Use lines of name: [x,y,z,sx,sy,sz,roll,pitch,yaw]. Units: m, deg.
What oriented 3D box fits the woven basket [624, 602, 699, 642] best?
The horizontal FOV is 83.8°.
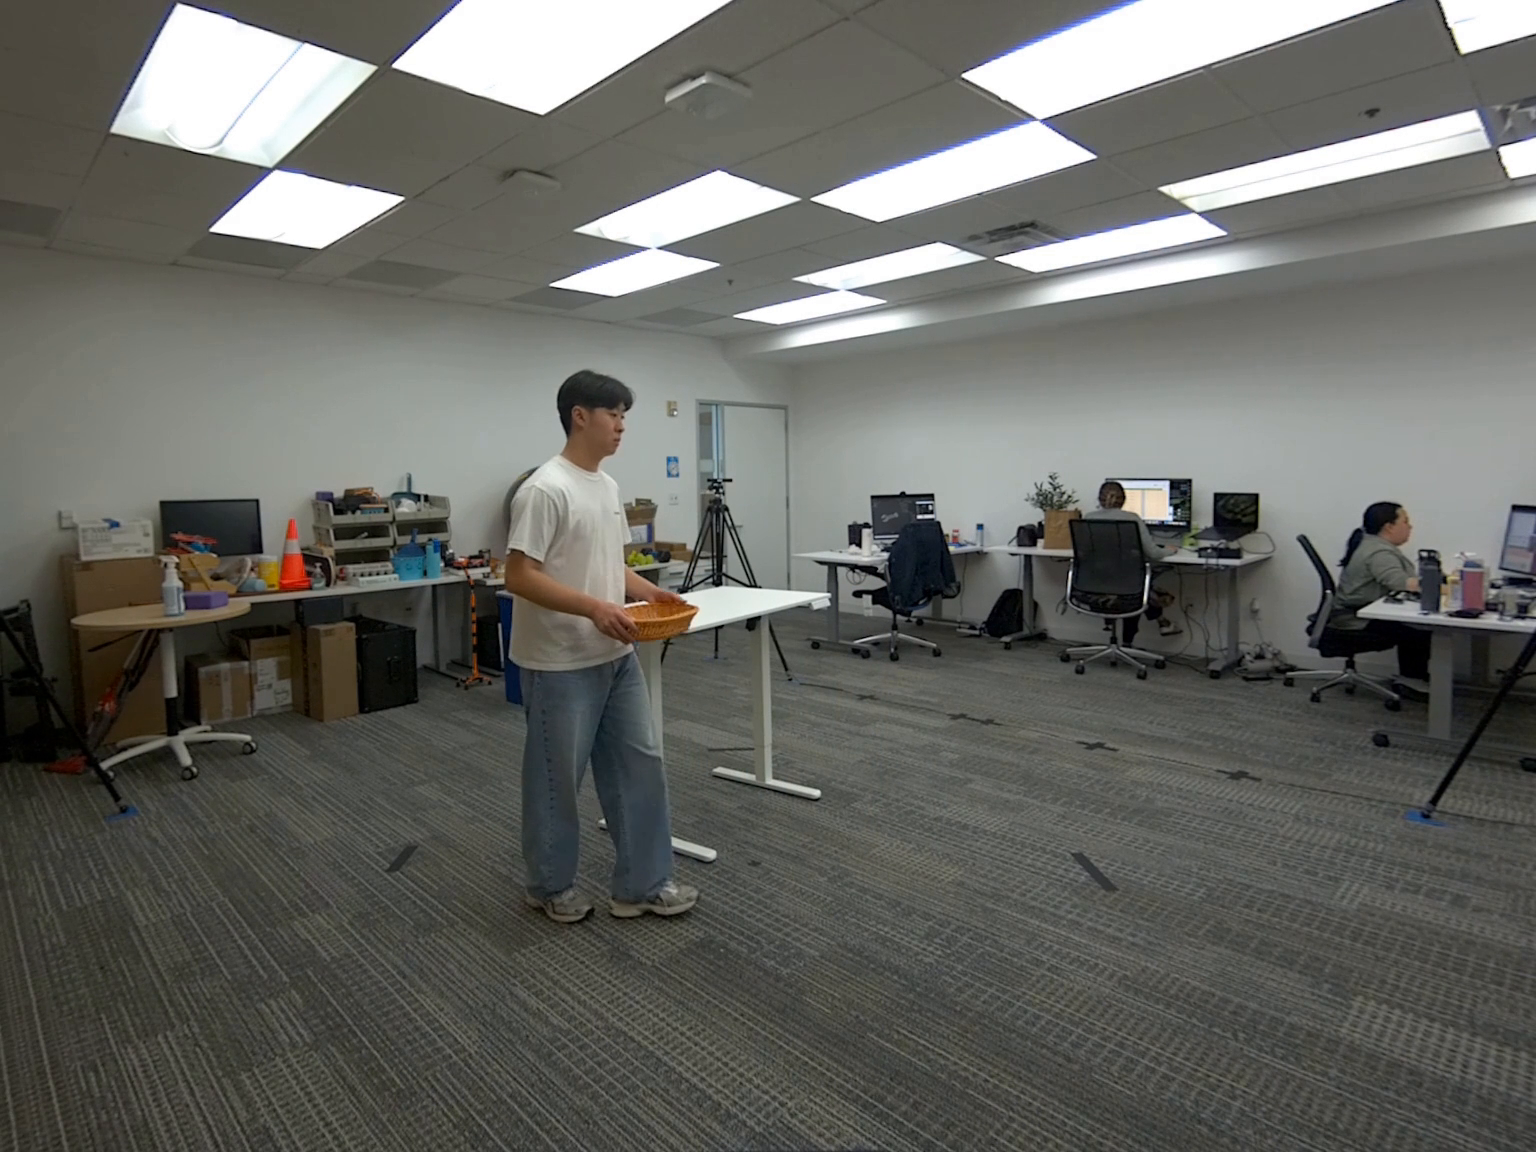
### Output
woven basket: [-0.397,0.148,2.615,0.260,0.073,0.342,5,9,35]
